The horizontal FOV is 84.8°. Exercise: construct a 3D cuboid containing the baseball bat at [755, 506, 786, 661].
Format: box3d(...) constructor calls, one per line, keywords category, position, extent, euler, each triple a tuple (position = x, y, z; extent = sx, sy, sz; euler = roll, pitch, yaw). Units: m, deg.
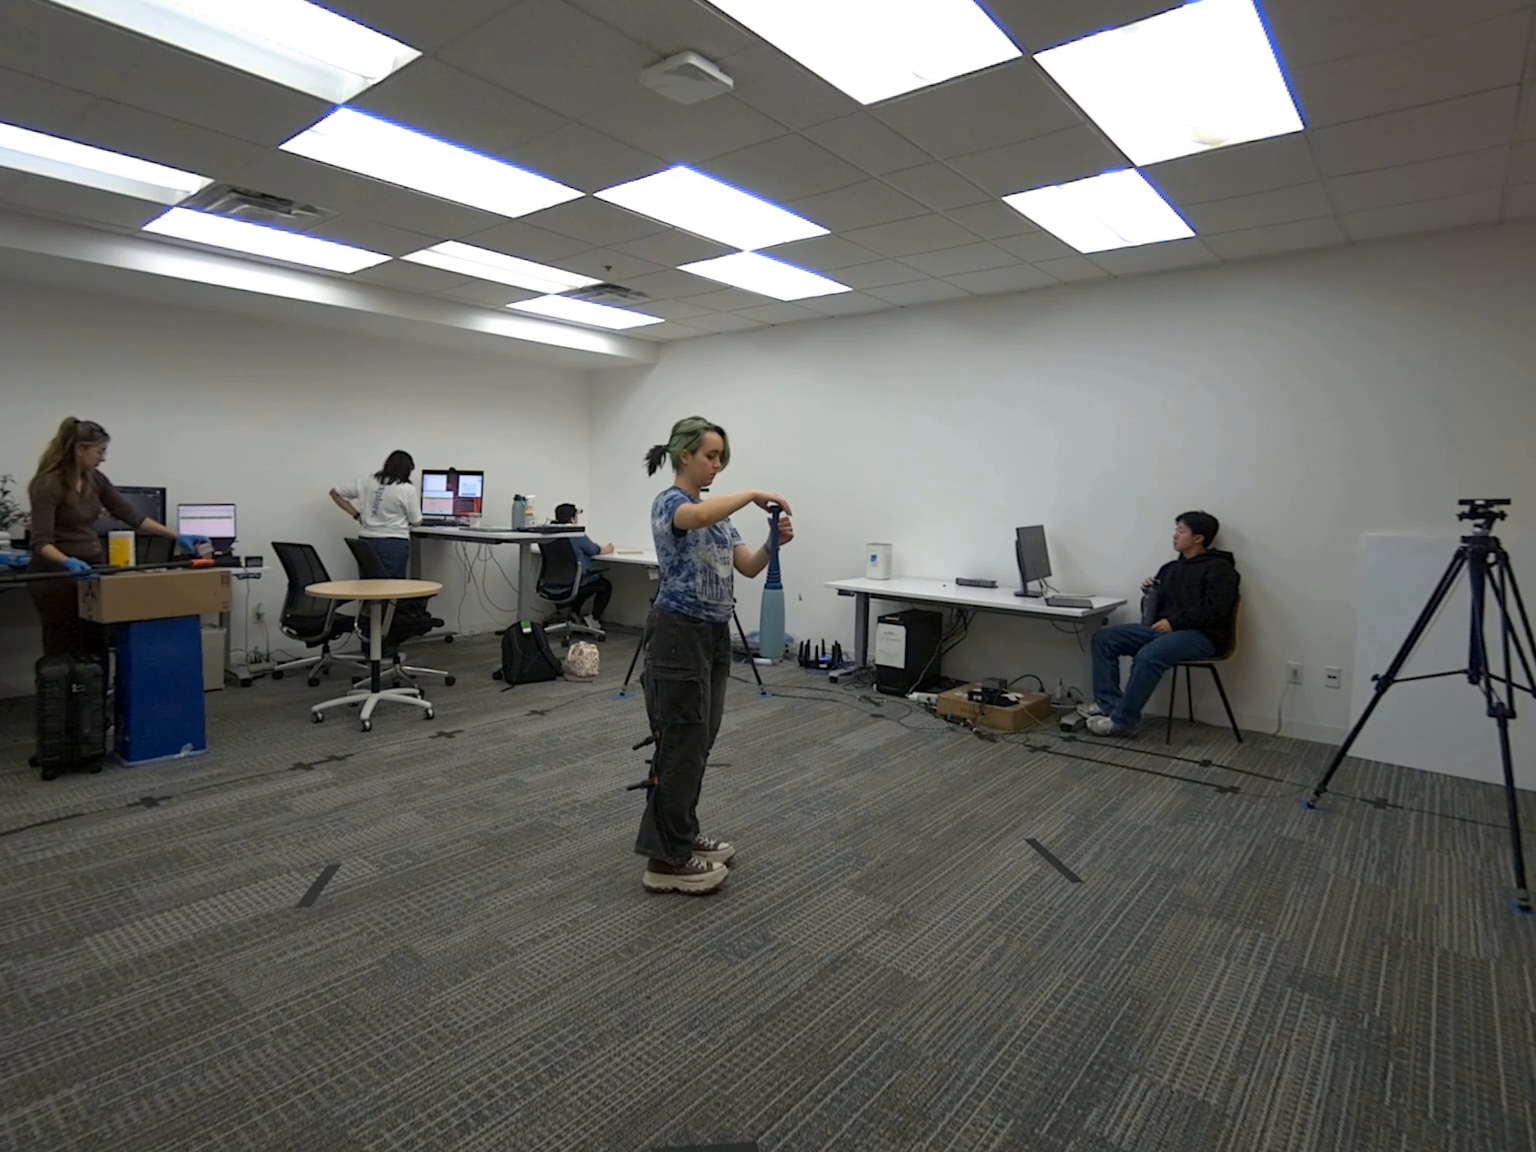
box3d(category="baseball bat", position=(0.008, 0.020, 2.983), extent=(0.089, 0.543, 0.089), euler=(1, -1, -2))
